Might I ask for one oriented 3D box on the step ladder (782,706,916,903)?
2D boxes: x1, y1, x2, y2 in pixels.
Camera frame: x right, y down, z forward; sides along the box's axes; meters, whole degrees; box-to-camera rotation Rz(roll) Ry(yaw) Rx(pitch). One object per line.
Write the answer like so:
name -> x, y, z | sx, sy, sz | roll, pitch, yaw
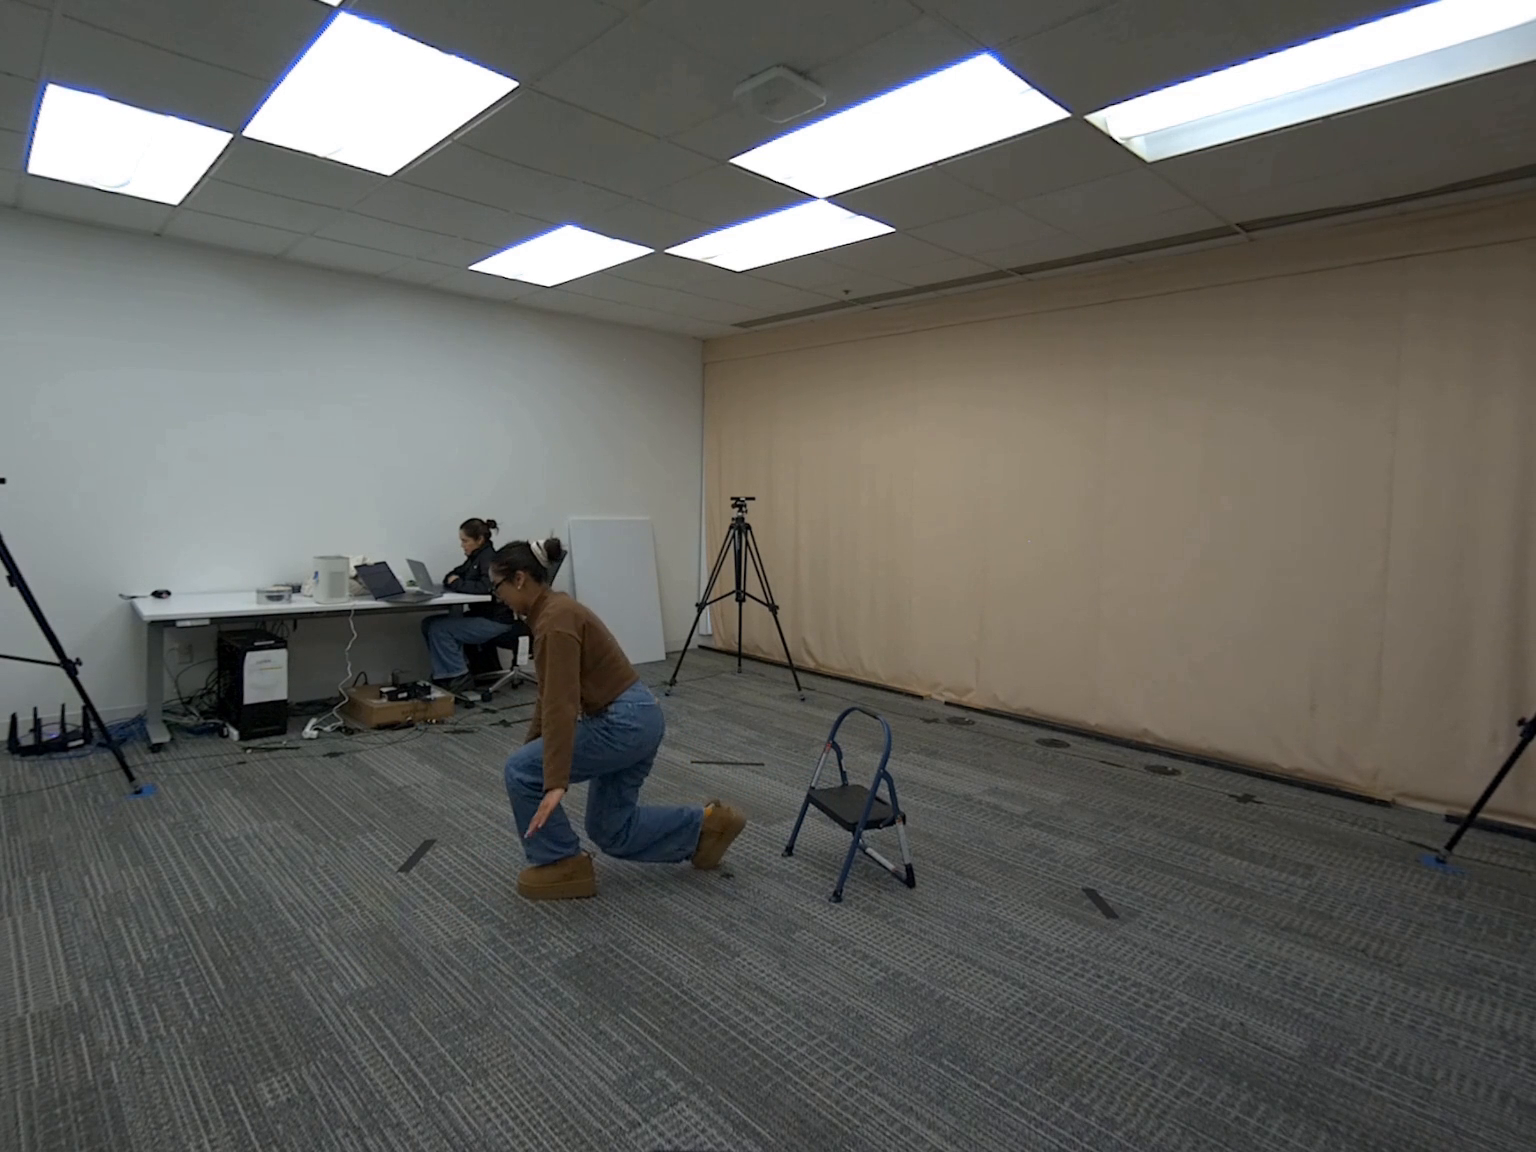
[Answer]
step ladder -> 0.301, 0.812, 3.155 | 0.343, 0.604, 0.439 | 0, 4, -24
